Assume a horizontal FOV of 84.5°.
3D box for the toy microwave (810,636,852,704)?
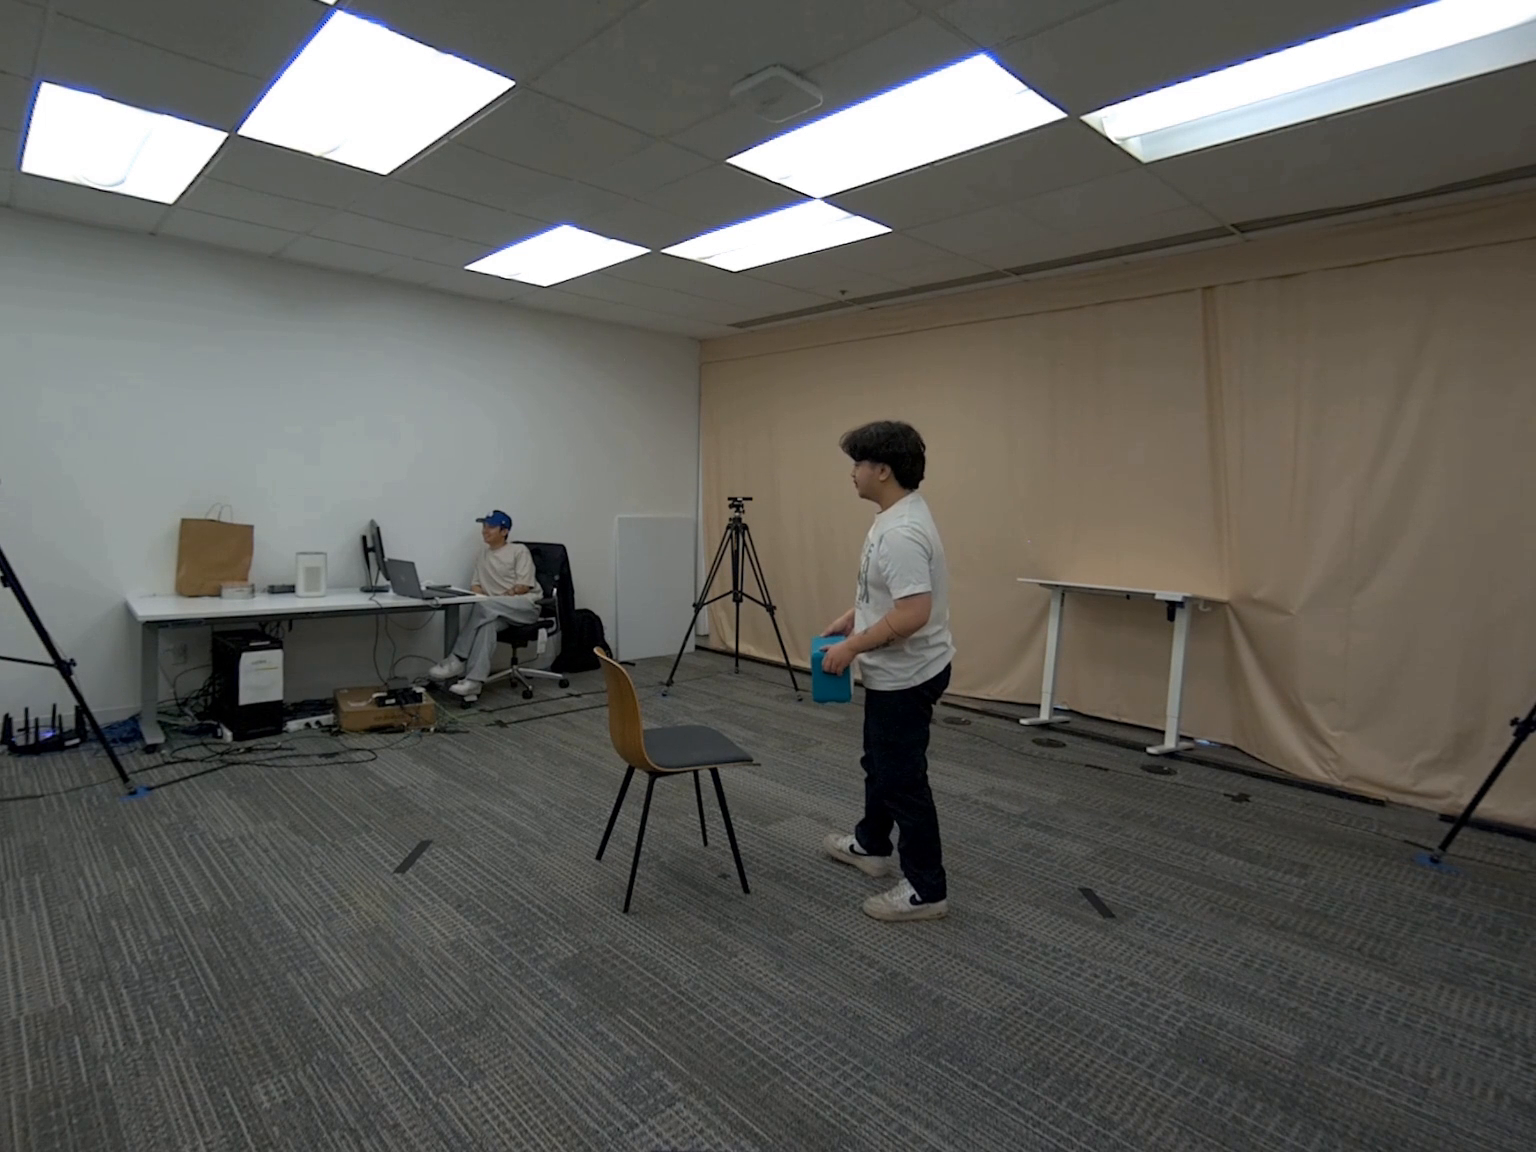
[{"bbox_3d":[0.219,0.326,2.957,0.153,0.183,0.286,-1,6,5],"label":"toy microwave"}]
